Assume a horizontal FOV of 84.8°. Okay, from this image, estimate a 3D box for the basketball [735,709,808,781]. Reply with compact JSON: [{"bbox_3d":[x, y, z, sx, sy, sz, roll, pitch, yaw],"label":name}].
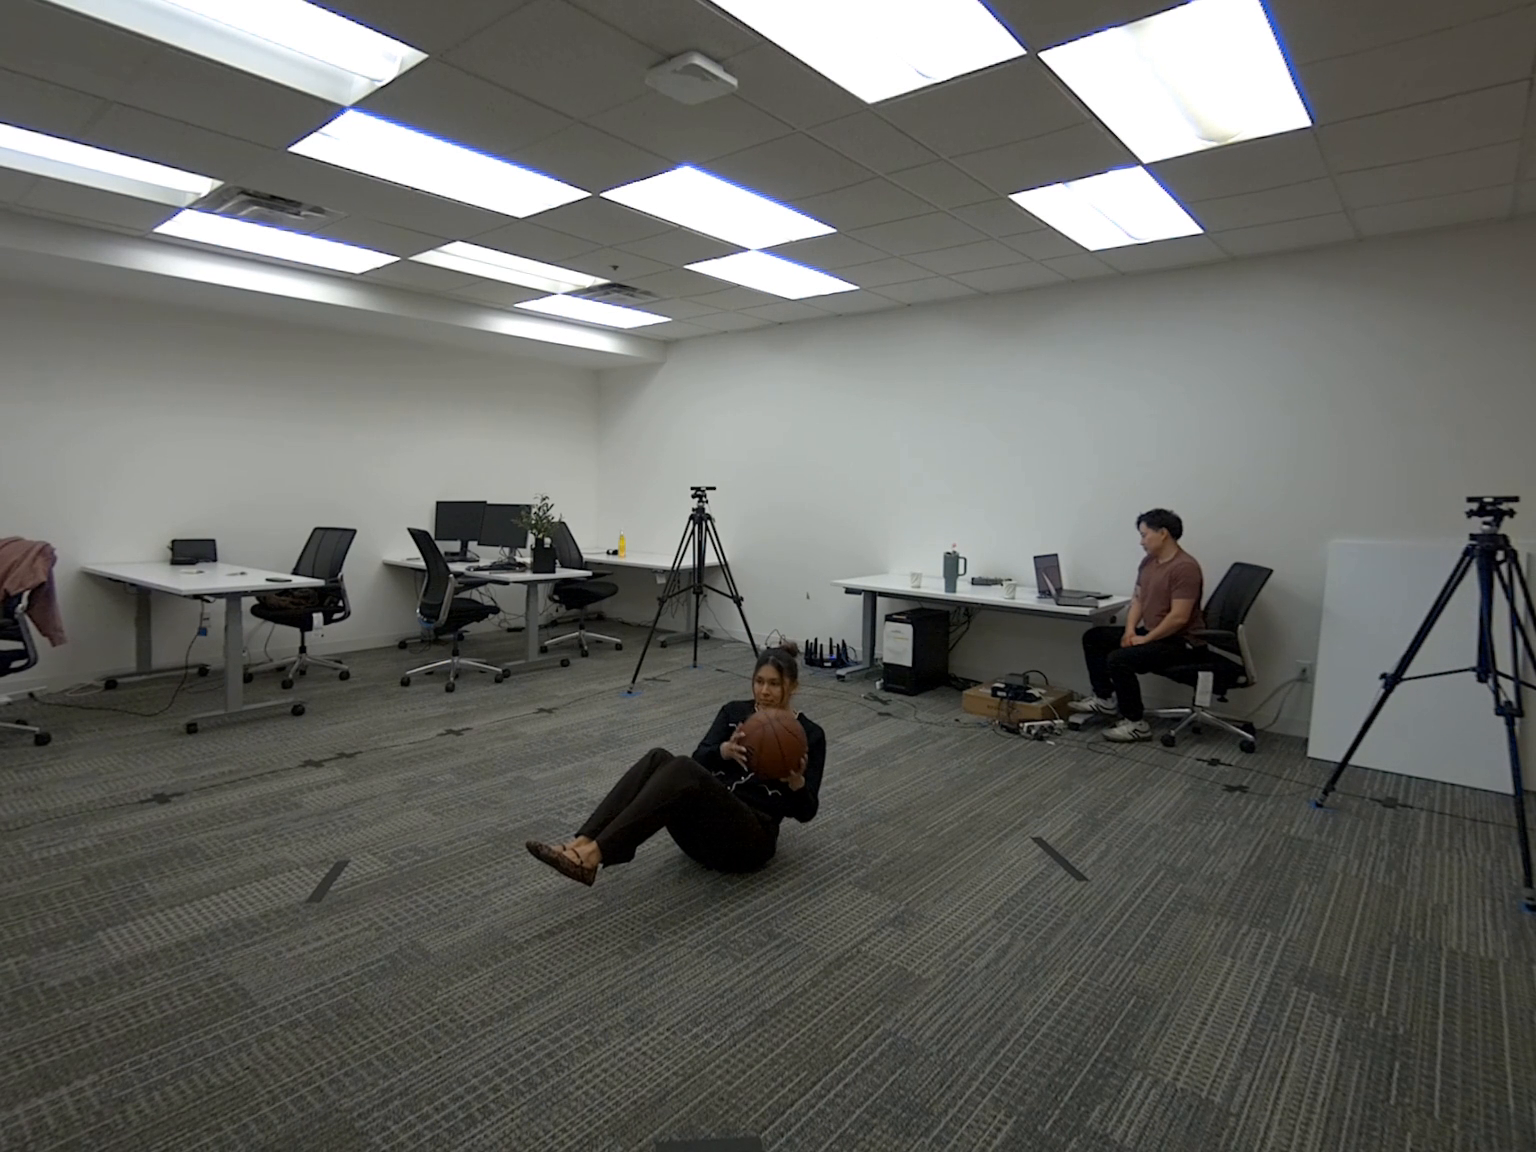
[{"bbox_3d":[-0.001,0.575,2.938,0.235,0.235,0.237,1,4,-2],"label":"basketball"}]
